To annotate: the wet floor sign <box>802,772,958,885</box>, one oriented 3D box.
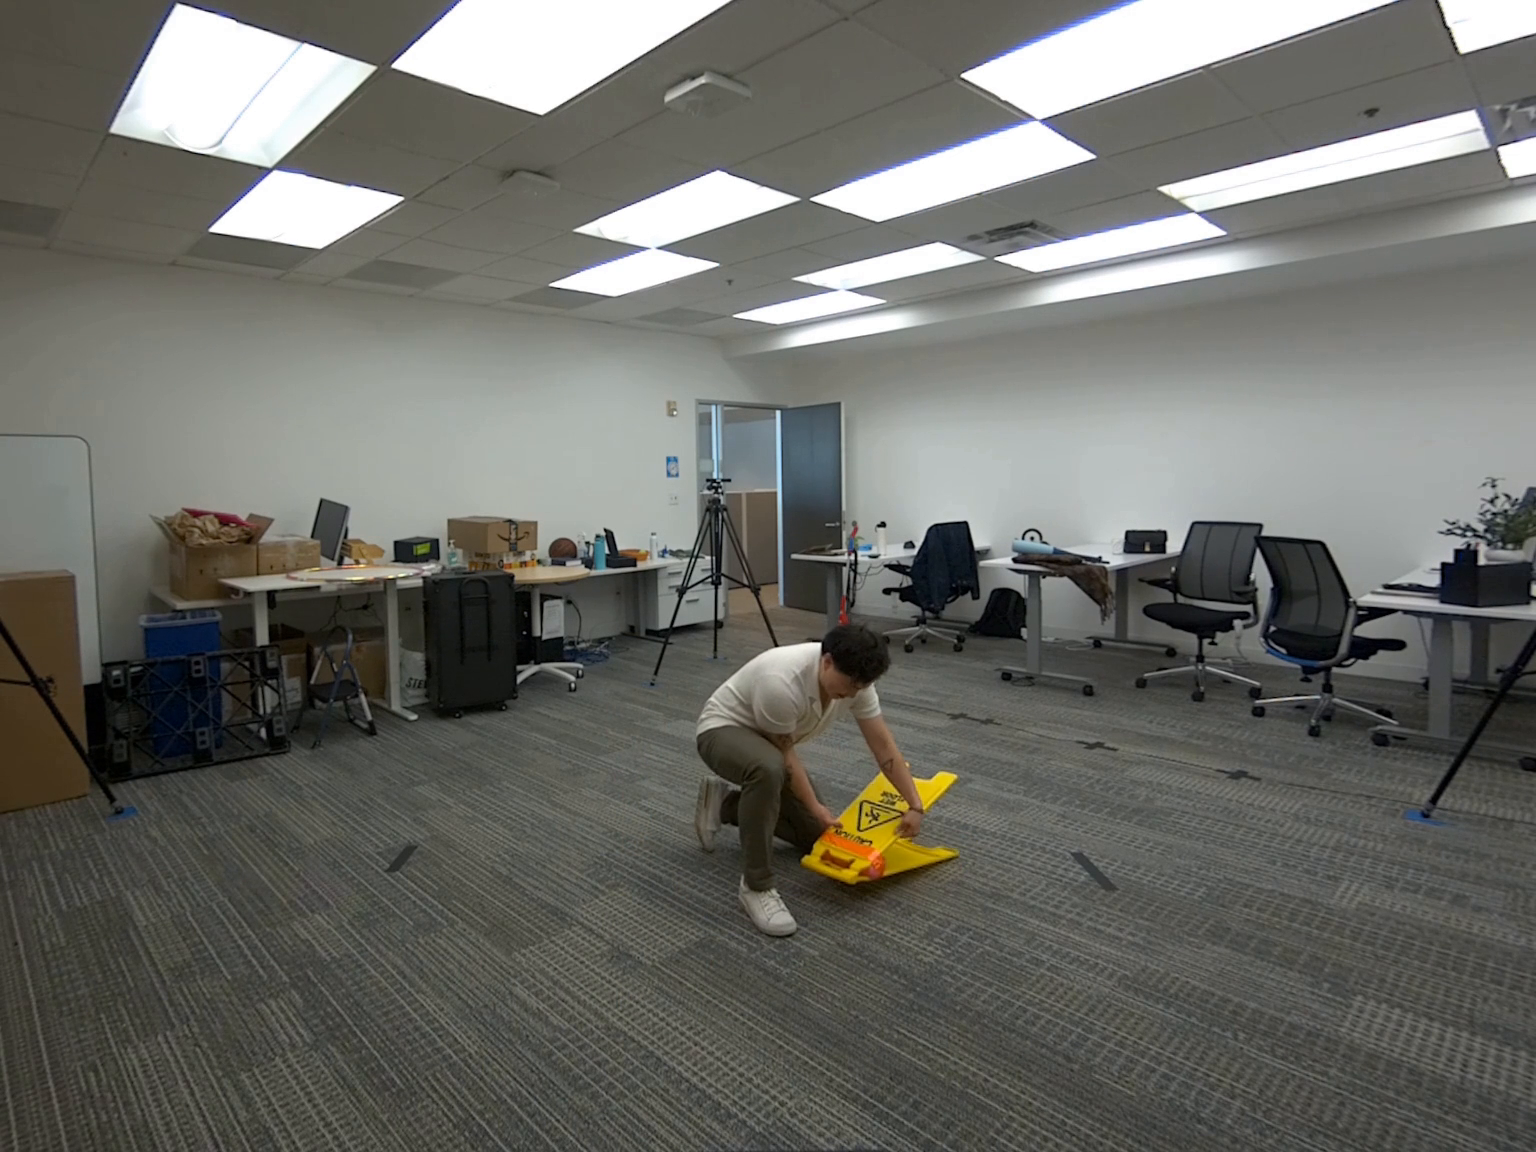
[{"bbox_3d":[0.381,0.909,2.992,0.291,0.288,0.631,3,11,43],"label":"wet floor sign"}]
